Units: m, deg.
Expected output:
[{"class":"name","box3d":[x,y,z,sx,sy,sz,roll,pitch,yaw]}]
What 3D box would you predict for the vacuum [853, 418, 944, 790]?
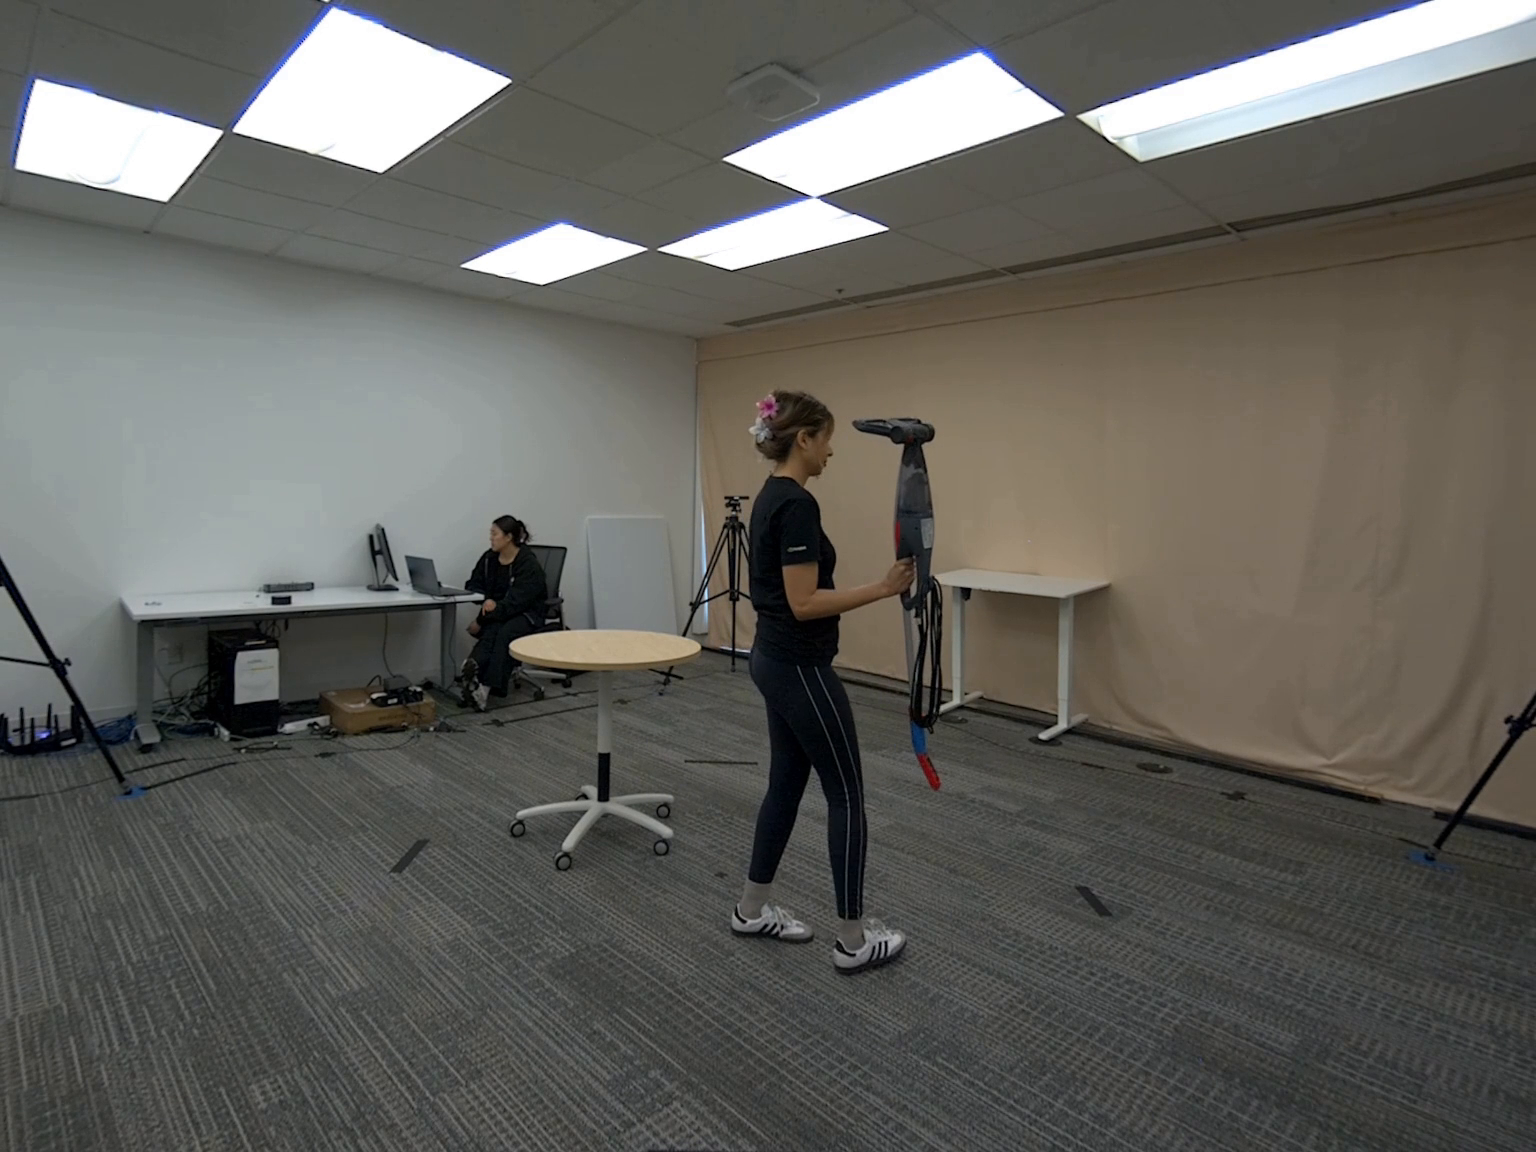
[{"class":"vacuum","box3d":[0.430,0.087,2.392,0.247,1.048,0.147,-7,2,-36]}]
